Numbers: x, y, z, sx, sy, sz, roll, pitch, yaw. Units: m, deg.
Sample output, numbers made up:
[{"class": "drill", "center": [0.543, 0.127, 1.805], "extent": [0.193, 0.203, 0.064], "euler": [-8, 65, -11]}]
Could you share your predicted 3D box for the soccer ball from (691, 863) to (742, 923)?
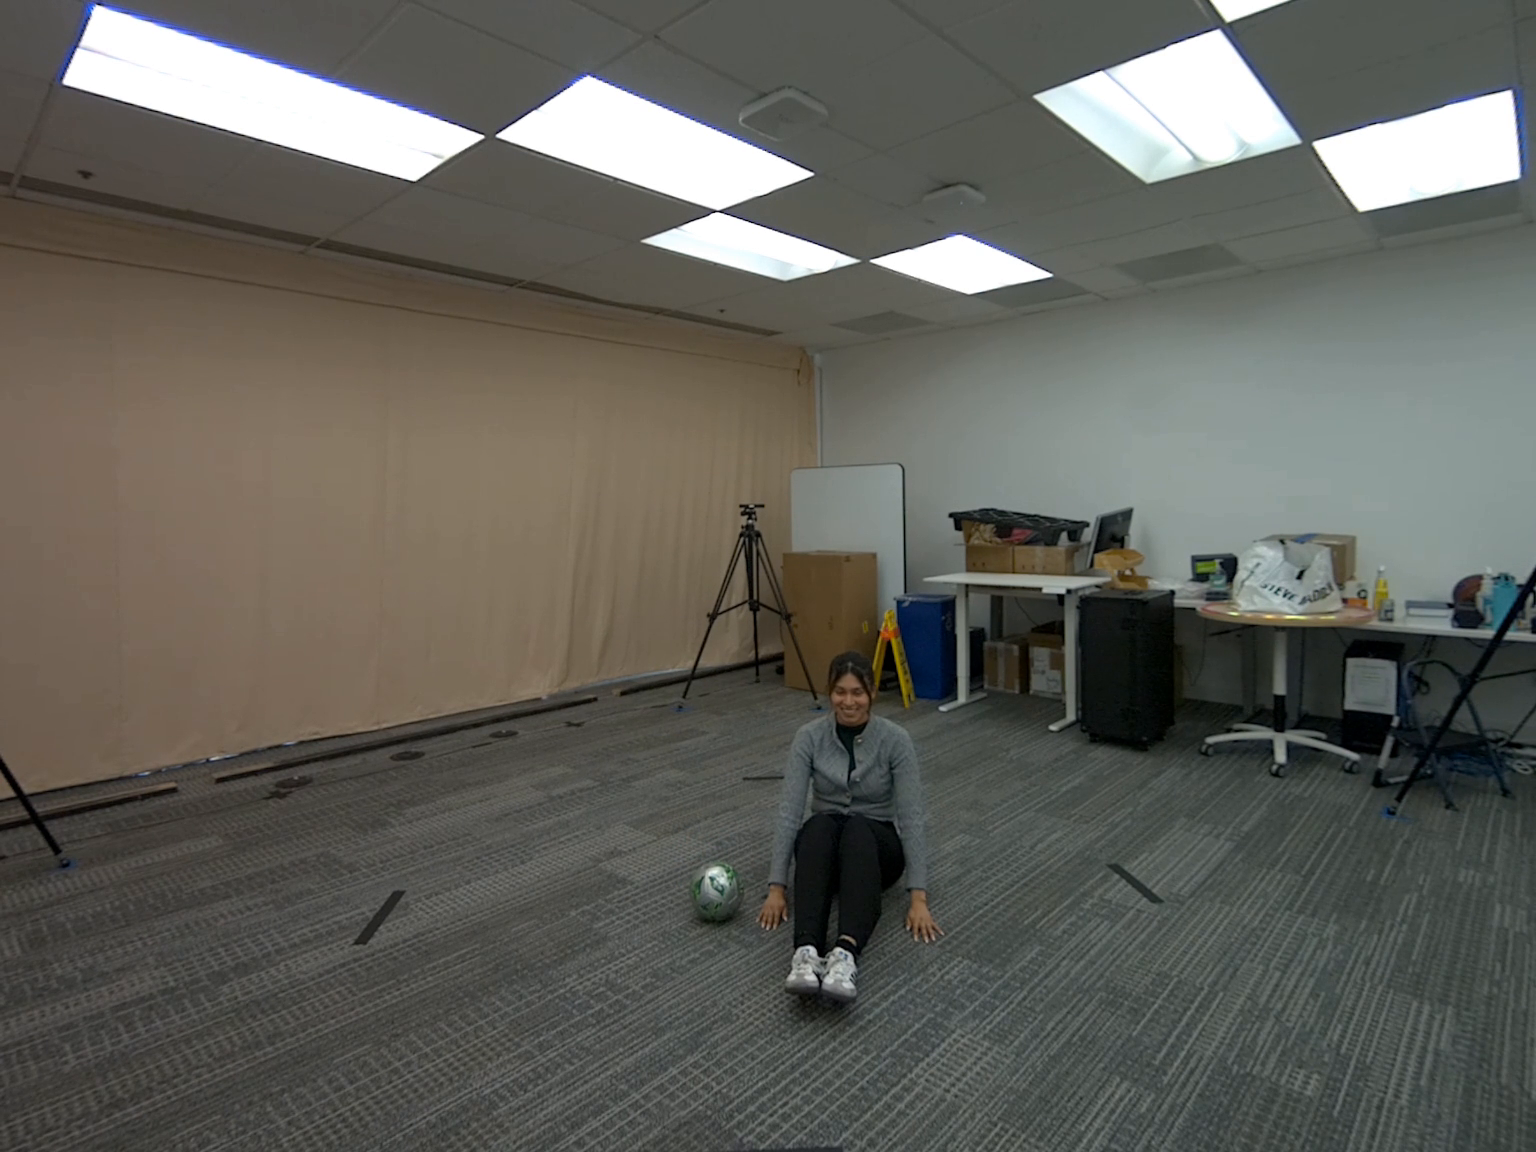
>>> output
[{"class": "soccer ball", "center": [-0.170, 1.063, 2.840], "extent": [0.187, 0.187, 0.188], "euler": [-1, 4, -2]}]
